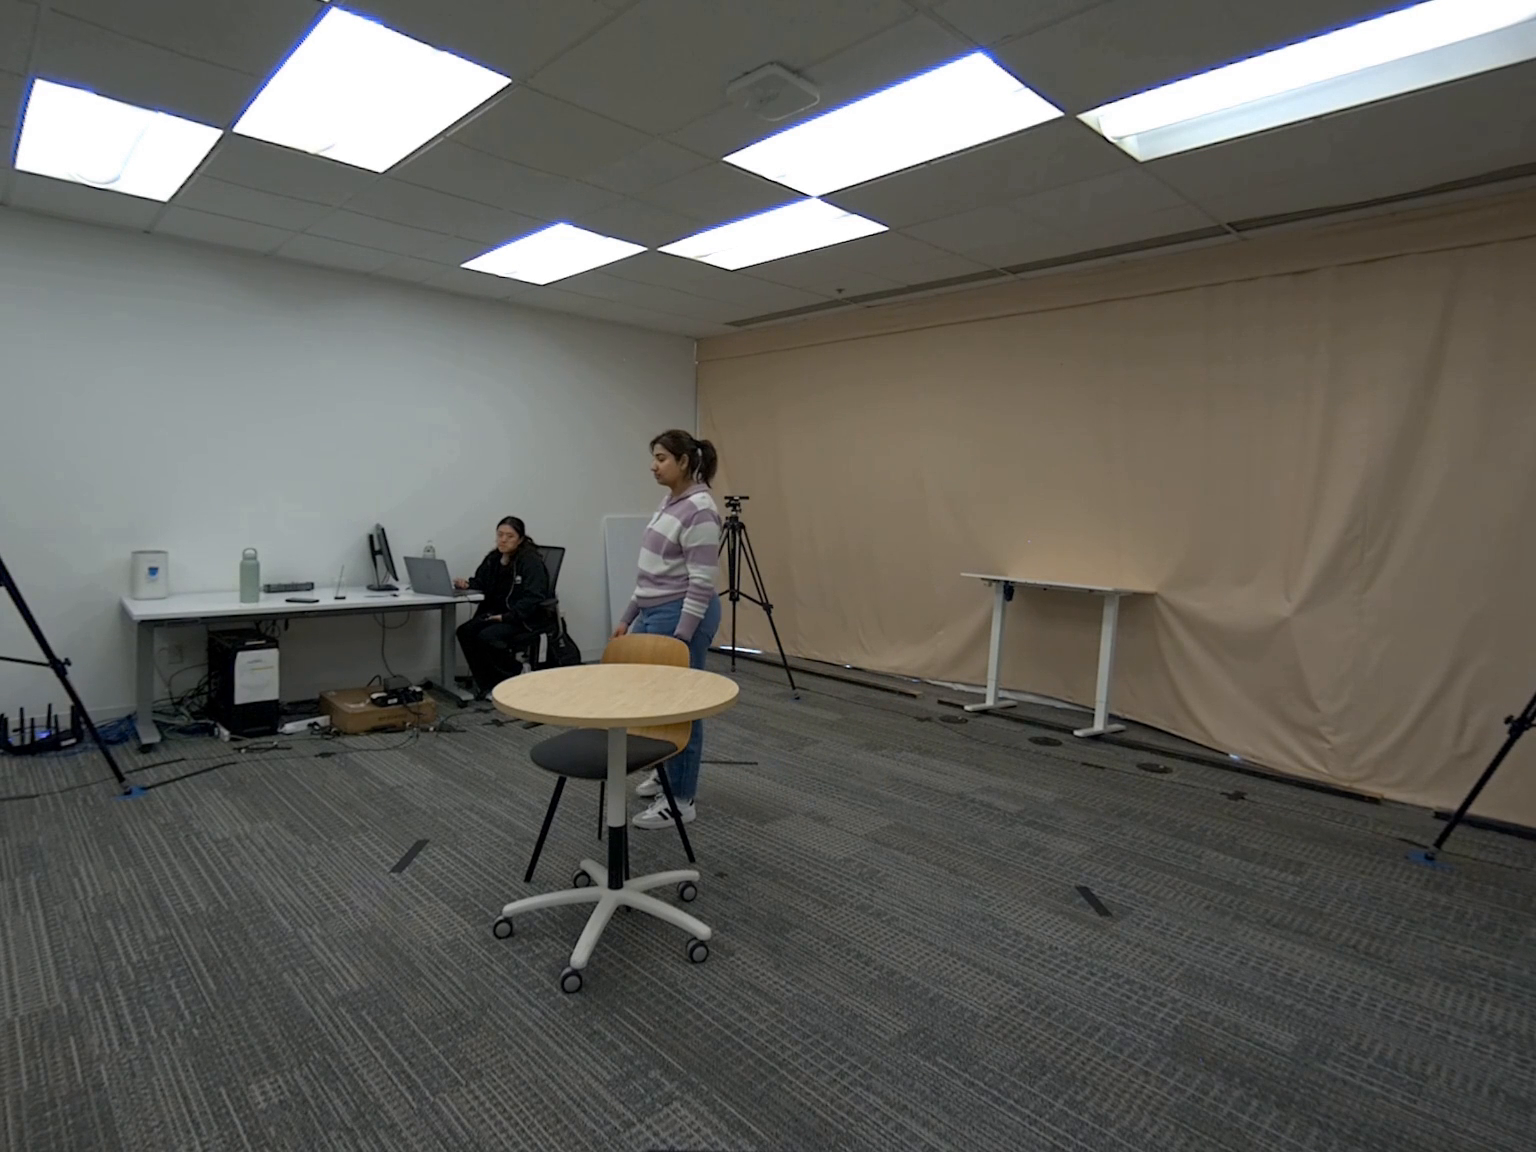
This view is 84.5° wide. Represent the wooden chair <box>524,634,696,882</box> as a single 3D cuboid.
[{"bbox_3d":[-0.571,0.674,3.068,0.488,0.877,0.512,3,0,27],"label":"wooden chair"}]
